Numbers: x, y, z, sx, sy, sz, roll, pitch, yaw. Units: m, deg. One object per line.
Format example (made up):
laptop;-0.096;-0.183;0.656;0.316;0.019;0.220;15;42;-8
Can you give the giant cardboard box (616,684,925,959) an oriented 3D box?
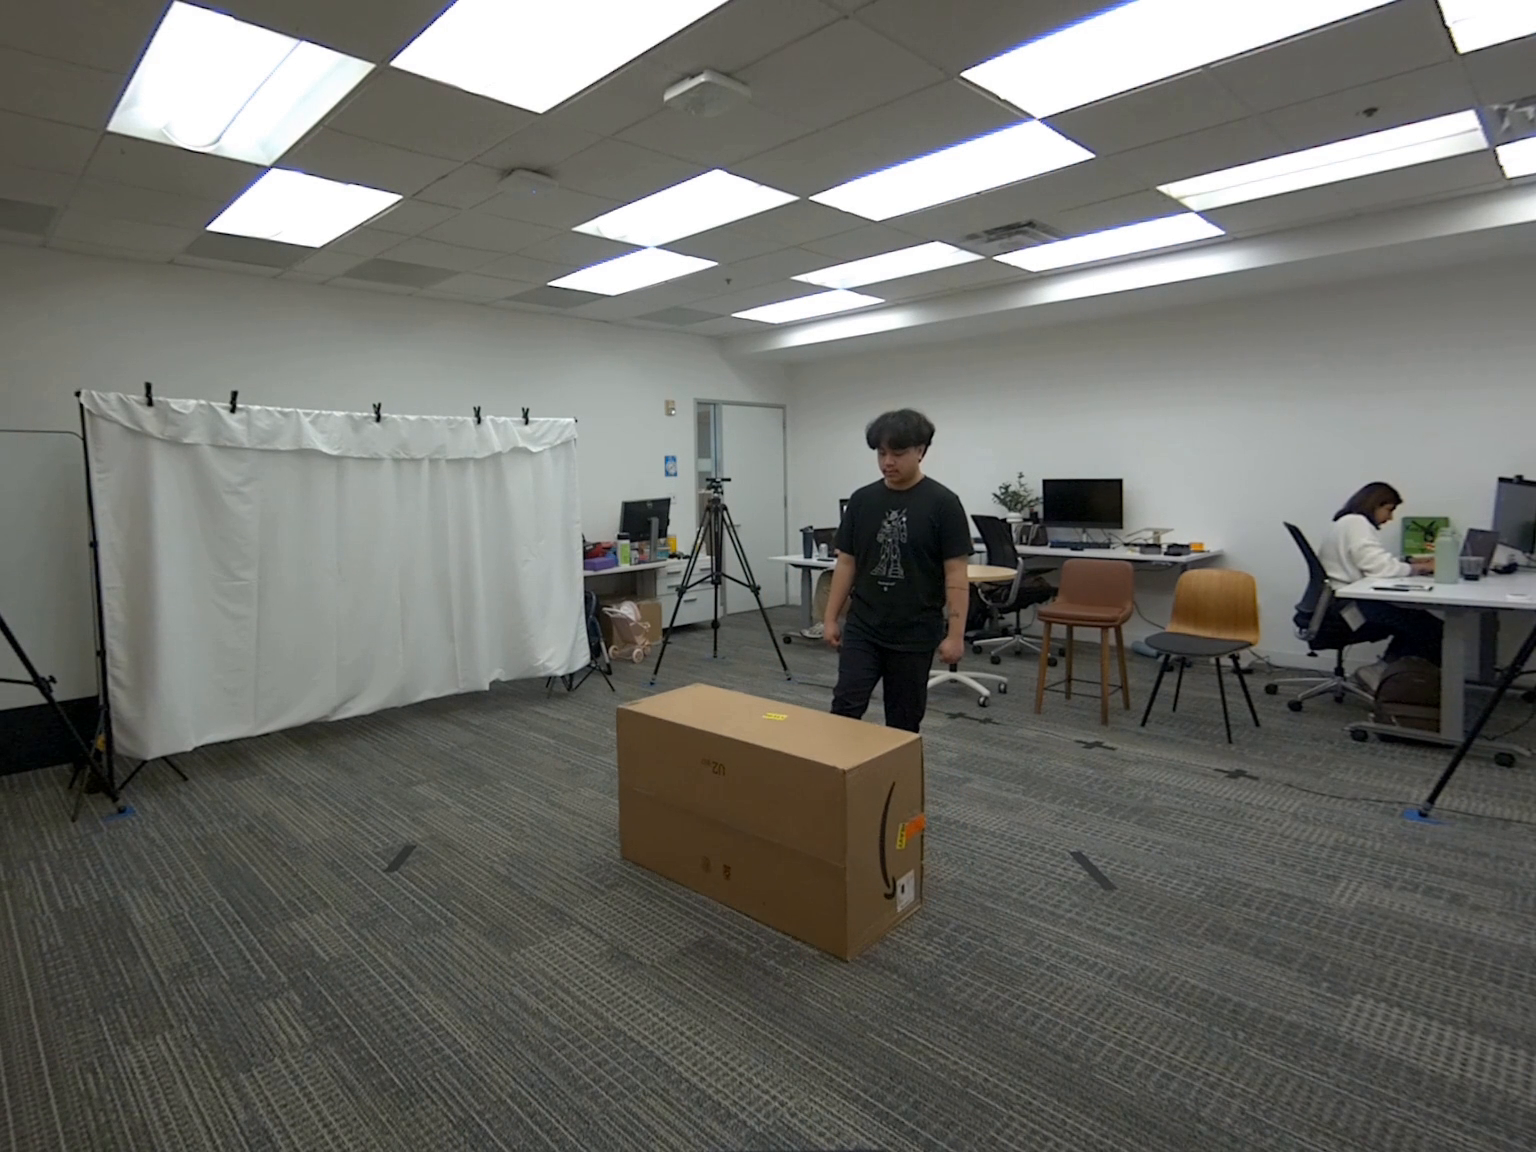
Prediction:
giant cardboard box;-0.026;0.776;2.938;1.059;0.582;0.435;5;7;42
